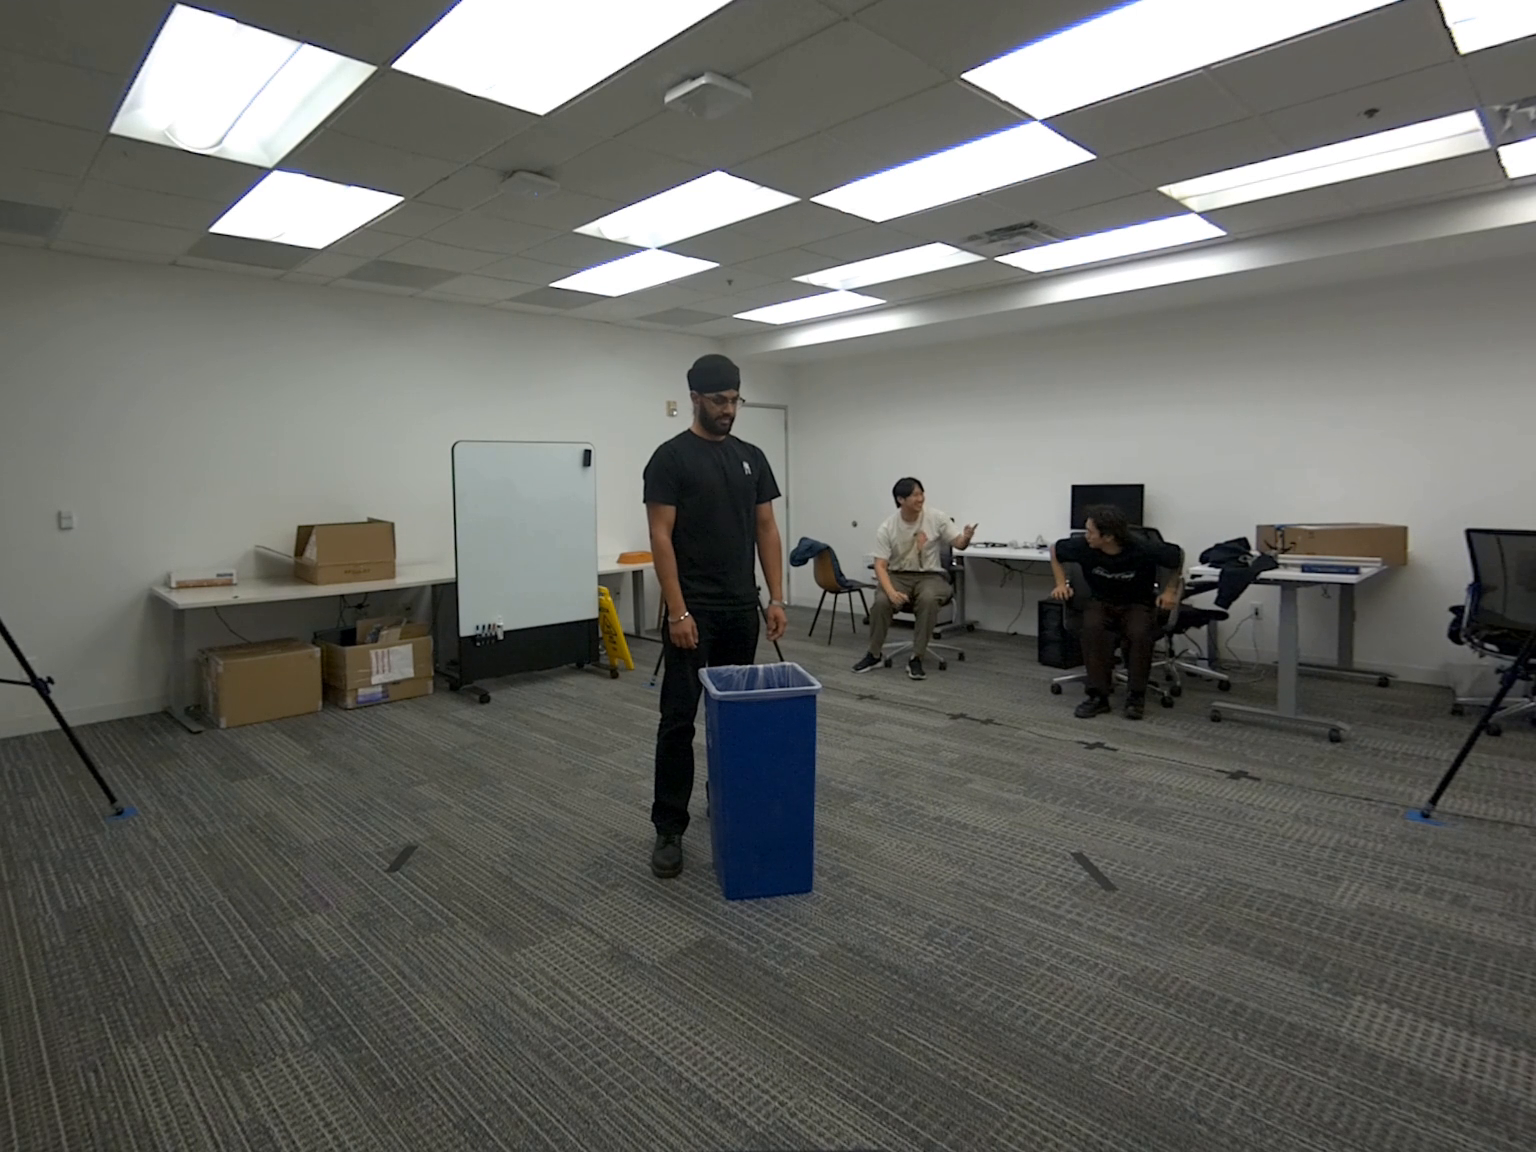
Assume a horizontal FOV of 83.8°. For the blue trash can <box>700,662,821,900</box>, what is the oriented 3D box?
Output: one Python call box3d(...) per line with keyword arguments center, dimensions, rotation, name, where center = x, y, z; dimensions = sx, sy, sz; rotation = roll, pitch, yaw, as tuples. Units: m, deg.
box3d(center=(-0.036, 0.698, 2.981), dimensions=(0.374, 0.710, 0.379), rotation=(-2, 5, -11), name="blue trash can")
